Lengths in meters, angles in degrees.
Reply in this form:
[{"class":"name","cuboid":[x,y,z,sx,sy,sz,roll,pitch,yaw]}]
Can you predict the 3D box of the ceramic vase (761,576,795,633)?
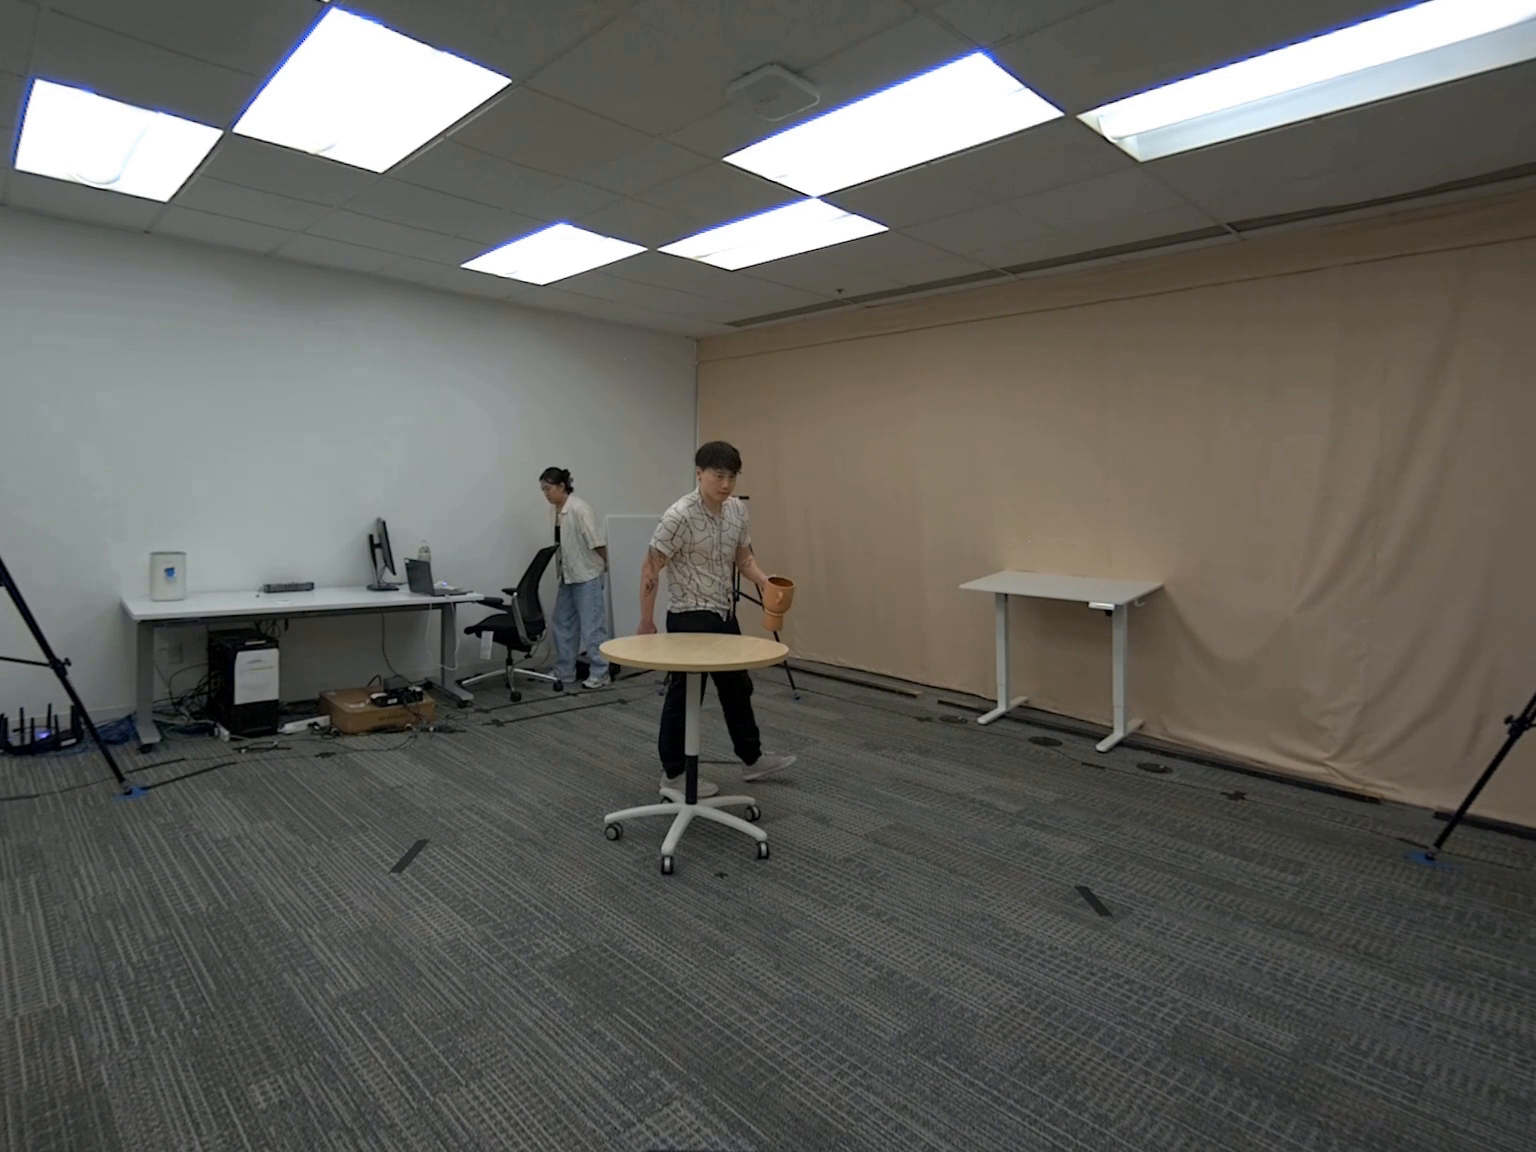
[{"class":"ceramic vase","cuboid":[0.028,0.123,3.769,0.138,0.218,0.156,20,18,31]}]
